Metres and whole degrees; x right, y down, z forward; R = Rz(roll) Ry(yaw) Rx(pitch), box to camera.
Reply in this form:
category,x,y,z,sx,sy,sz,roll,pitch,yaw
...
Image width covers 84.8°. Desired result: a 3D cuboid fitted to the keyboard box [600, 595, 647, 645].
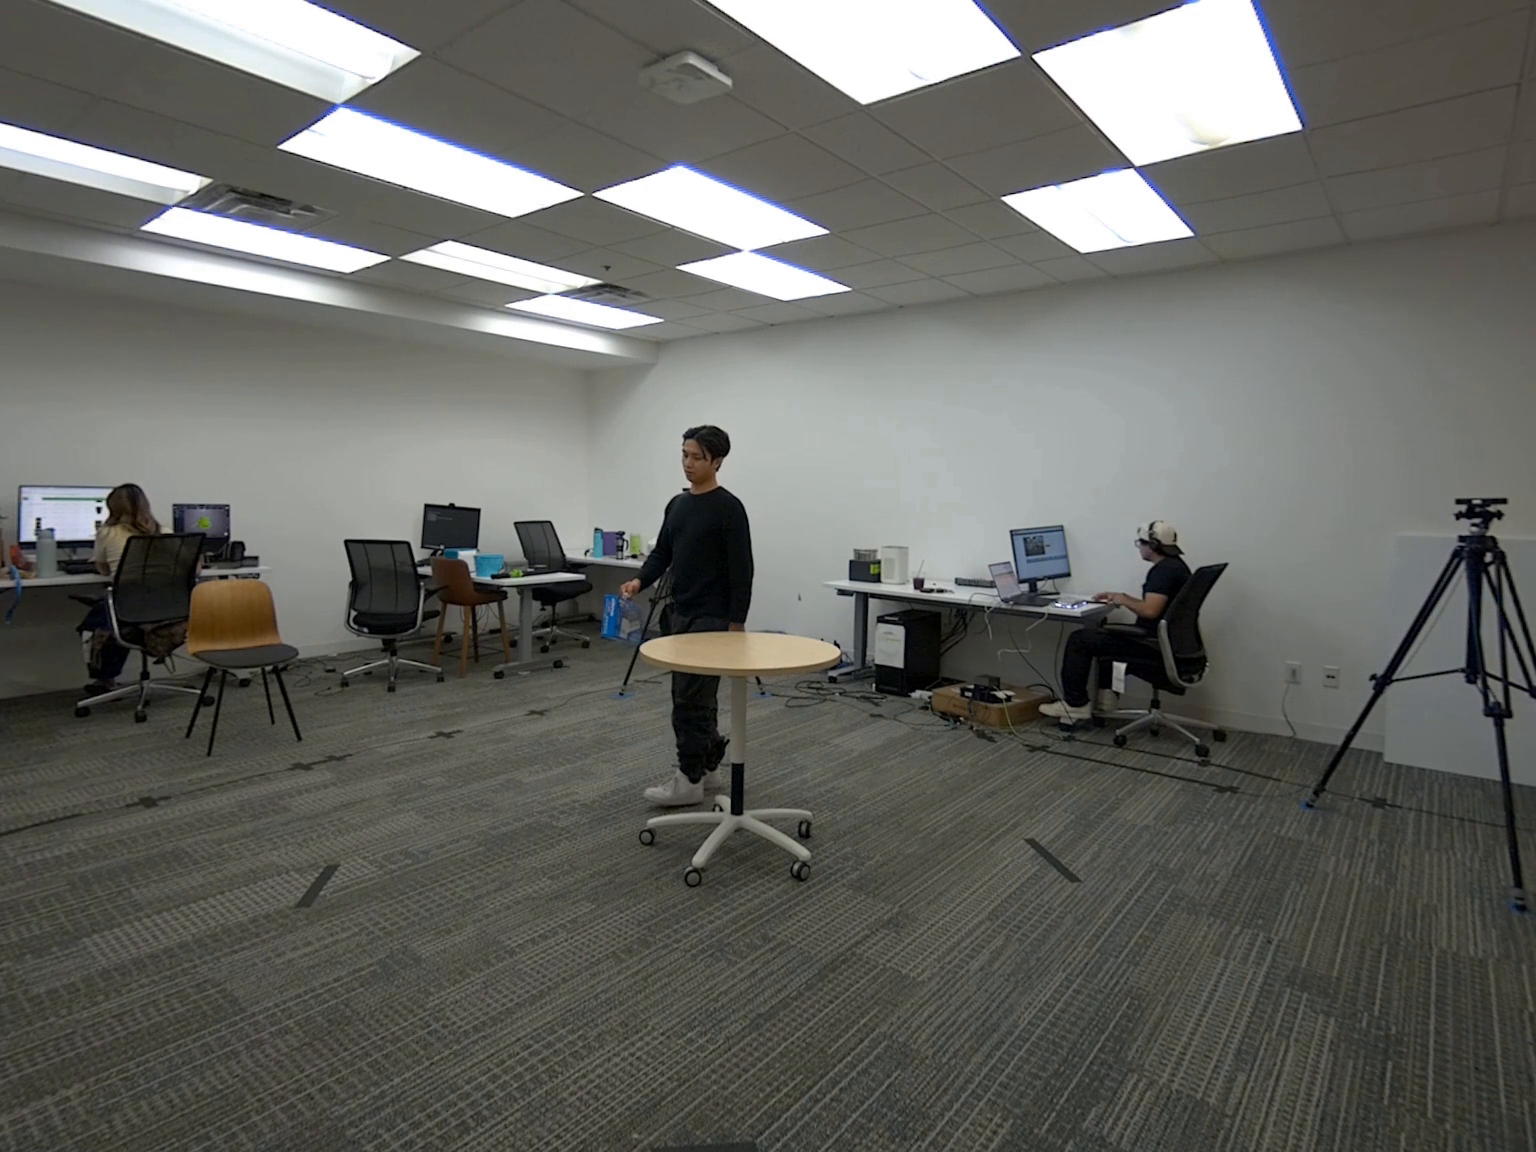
category,x,y,z,sx,sy,sz,roll,pitch,yaw
keyboard box,-0.647,0.196,3.752,0.060,0.177,0.428,5,-9,7
